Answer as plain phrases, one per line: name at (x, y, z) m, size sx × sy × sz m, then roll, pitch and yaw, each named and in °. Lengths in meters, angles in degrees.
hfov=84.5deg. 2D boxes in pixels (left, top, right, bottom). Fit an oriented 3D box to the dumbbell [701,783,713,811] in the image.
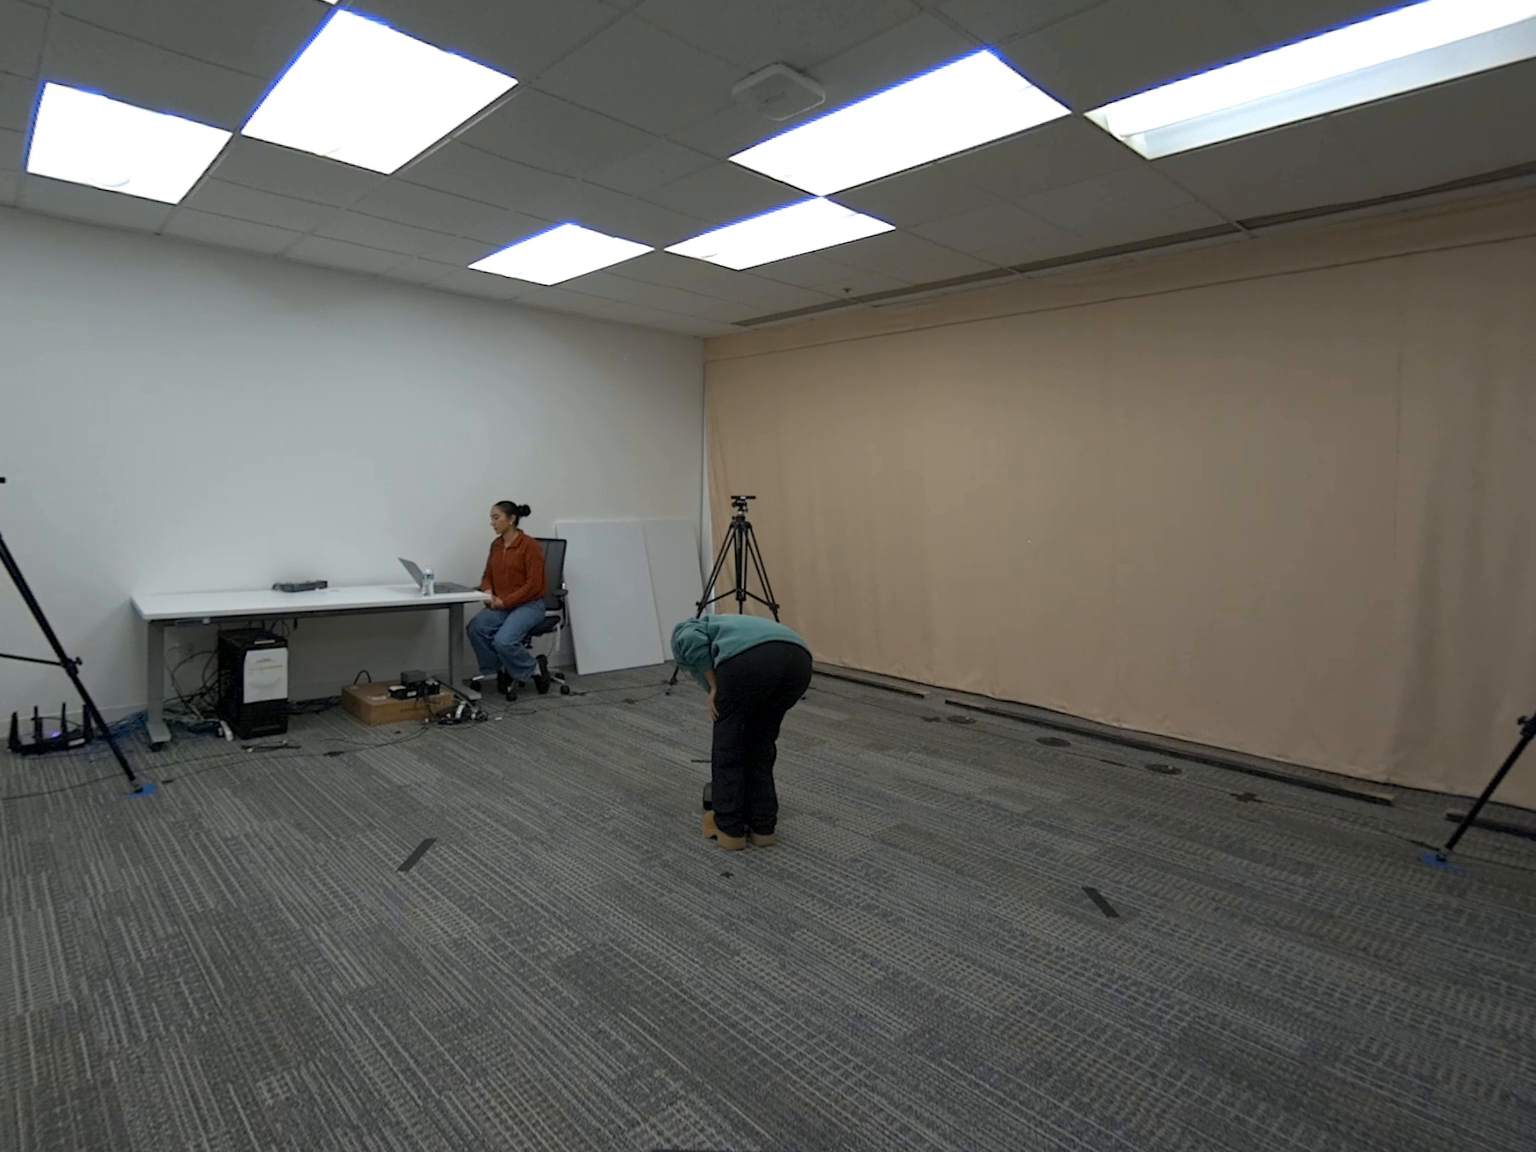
dumbbell at (-0.143, 0.995, 3.752) m, size 0.295 × 0.120 × 0.110 m, roll 2°, pitch 35°, yaw 5°
